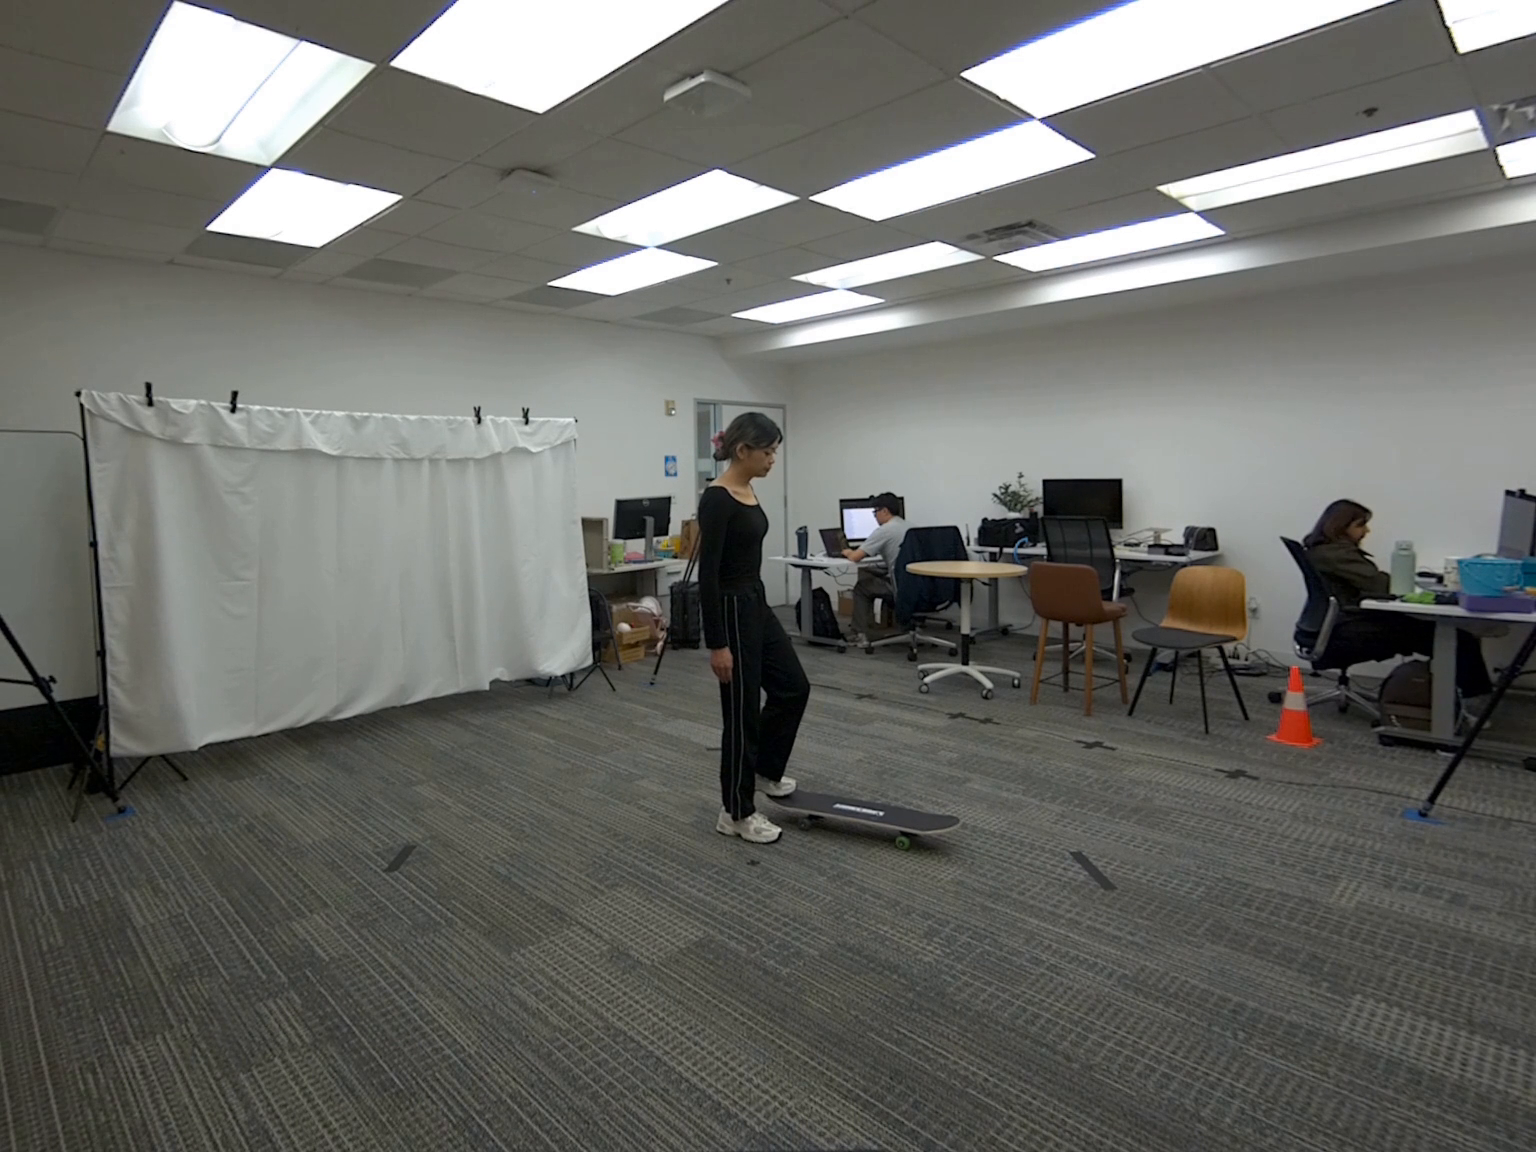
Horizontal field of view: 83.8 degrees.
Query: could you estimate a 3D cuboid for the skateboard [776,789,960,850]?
[{"bbox_3d":[0.358,0.951,3.353,0.805,0.110,0.189,2,6,28],"label":"skateboard"}]
